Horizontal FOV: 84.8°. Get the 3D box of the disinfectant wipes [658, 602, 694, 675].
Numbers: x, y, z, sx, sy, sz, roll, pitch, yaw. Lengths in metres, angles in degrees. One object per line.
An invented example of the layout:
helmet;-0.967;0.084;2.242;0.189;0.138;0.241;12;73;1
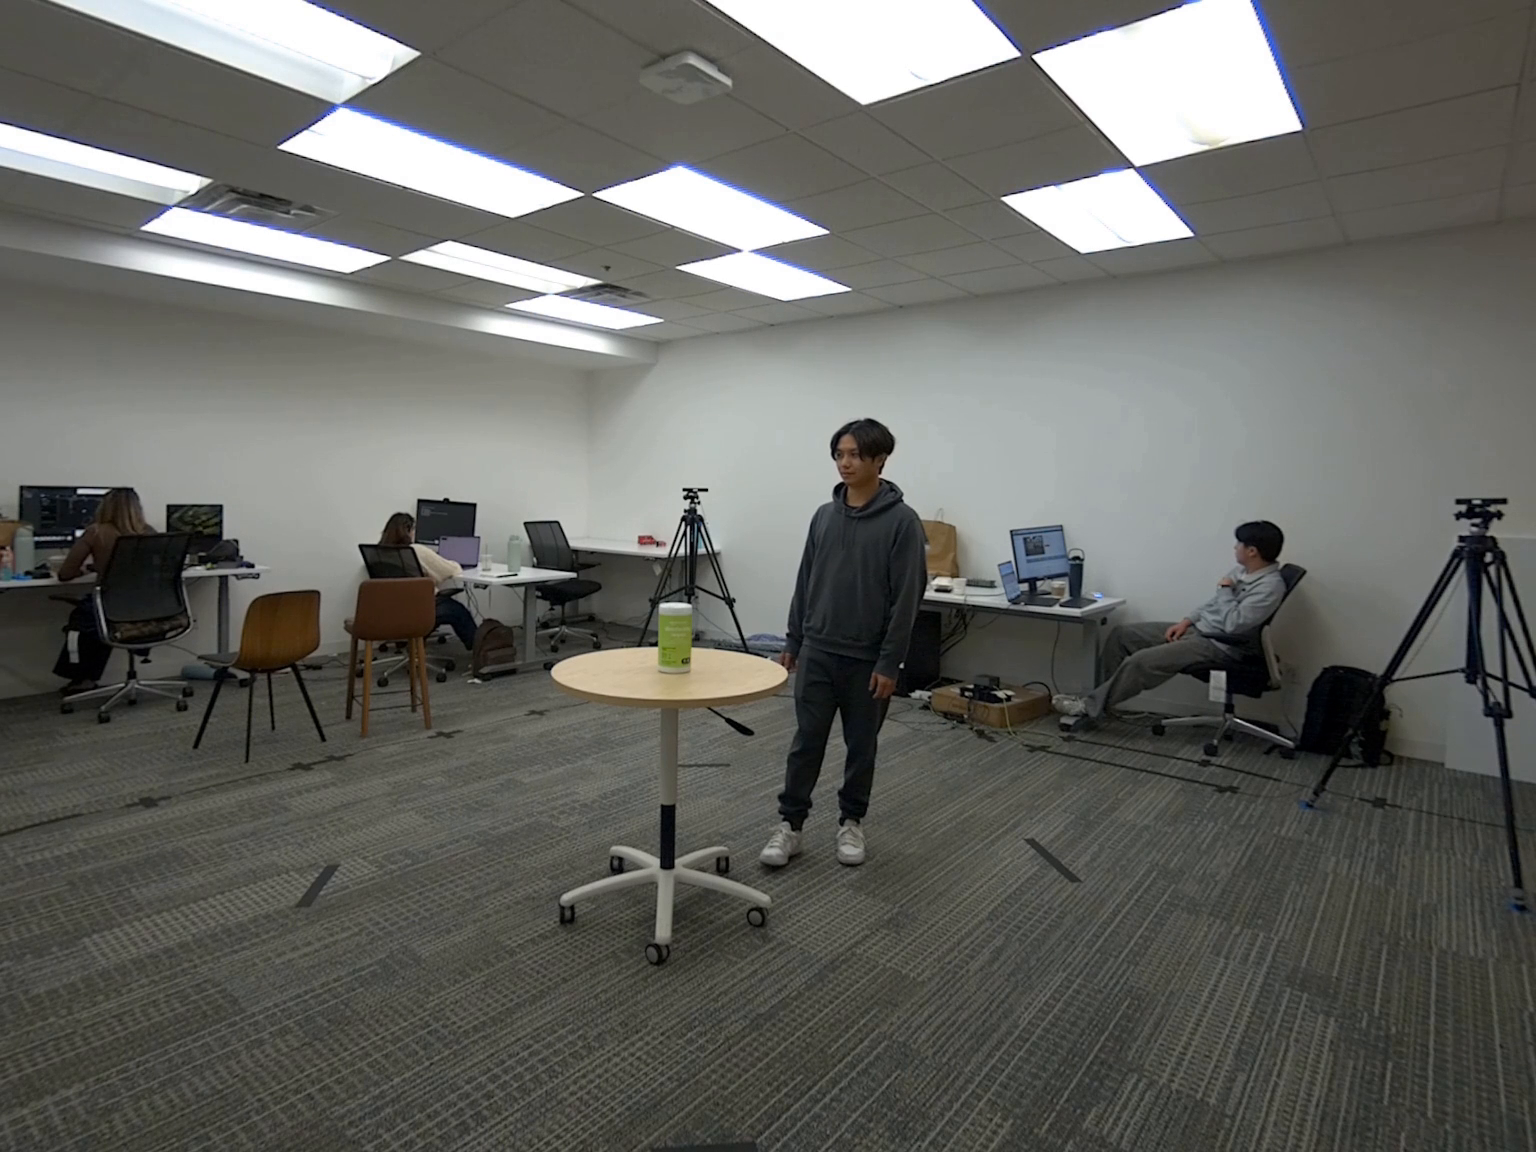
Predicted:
disinfectant wipes;-0.314;0.198;2.754;0.117;0.217;0.118;2;4;-2
